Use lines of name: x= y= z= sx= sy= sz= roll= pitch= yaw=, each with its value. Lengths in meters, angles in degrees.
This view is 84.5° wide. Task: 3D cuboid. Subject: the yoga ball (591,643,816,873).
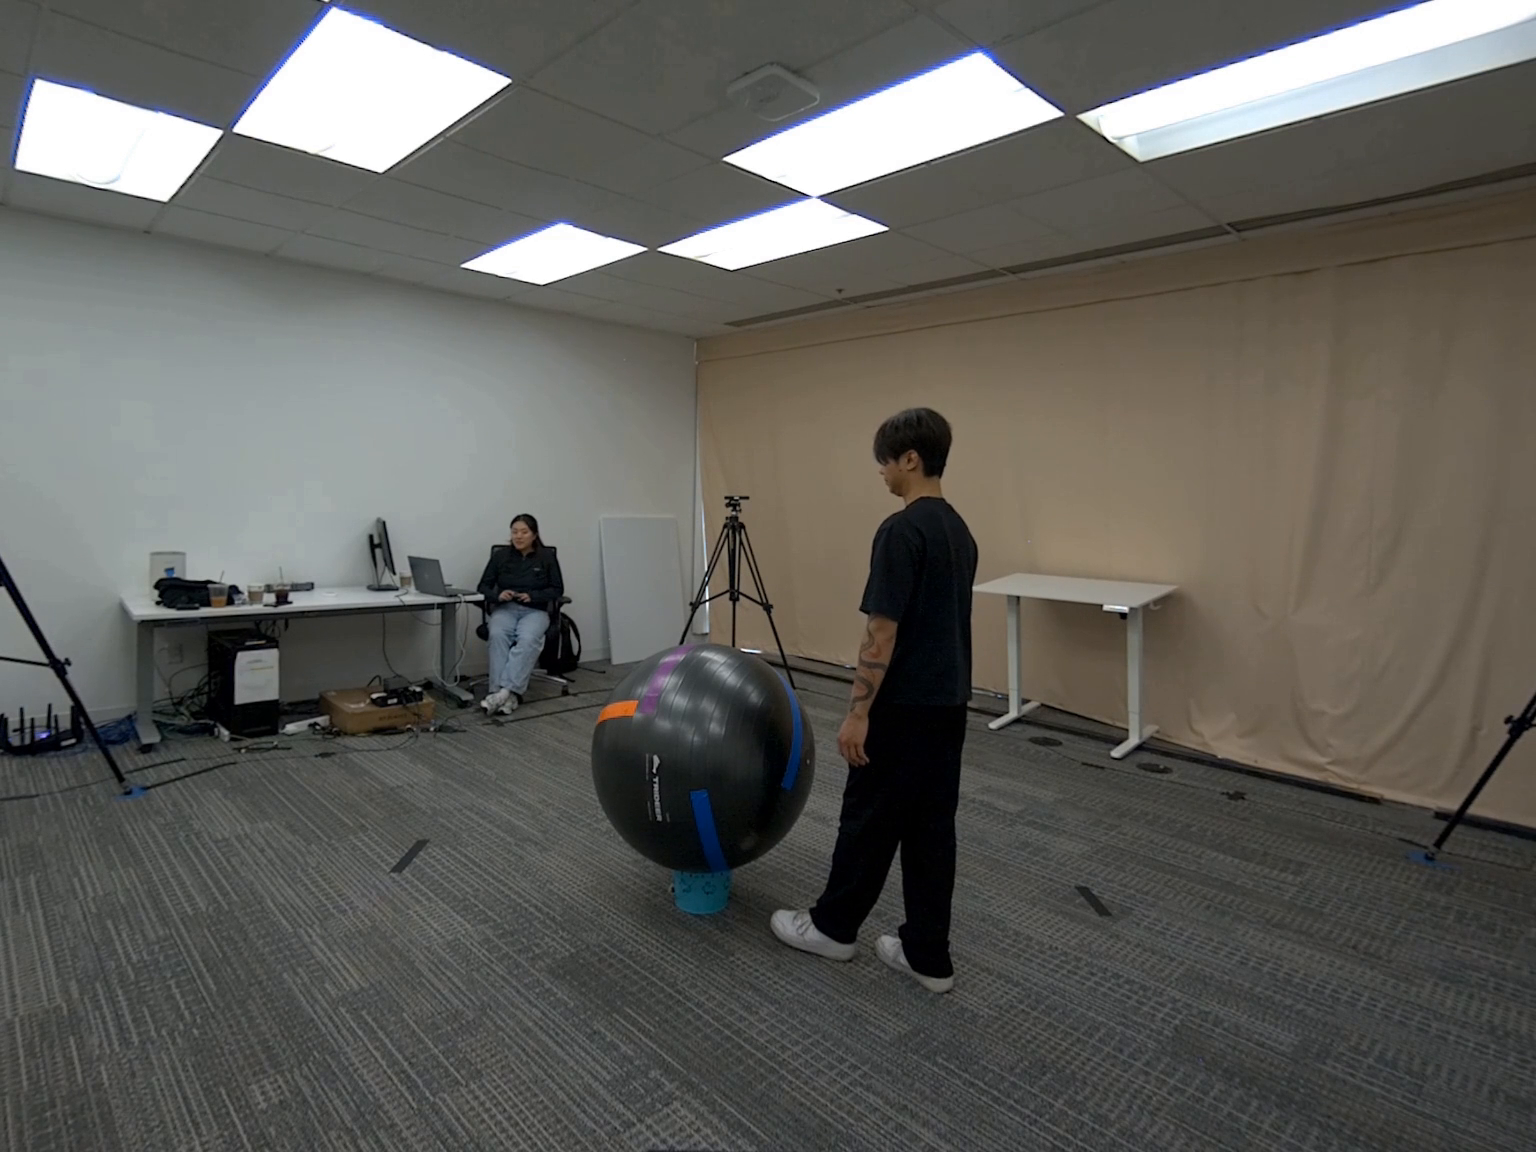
yoga ball: x=-0.228 y=0.615 z=2.872 sx=0.757 sy=0.756 sz=0.761 roll=1 pitch=4 yaw=-1
